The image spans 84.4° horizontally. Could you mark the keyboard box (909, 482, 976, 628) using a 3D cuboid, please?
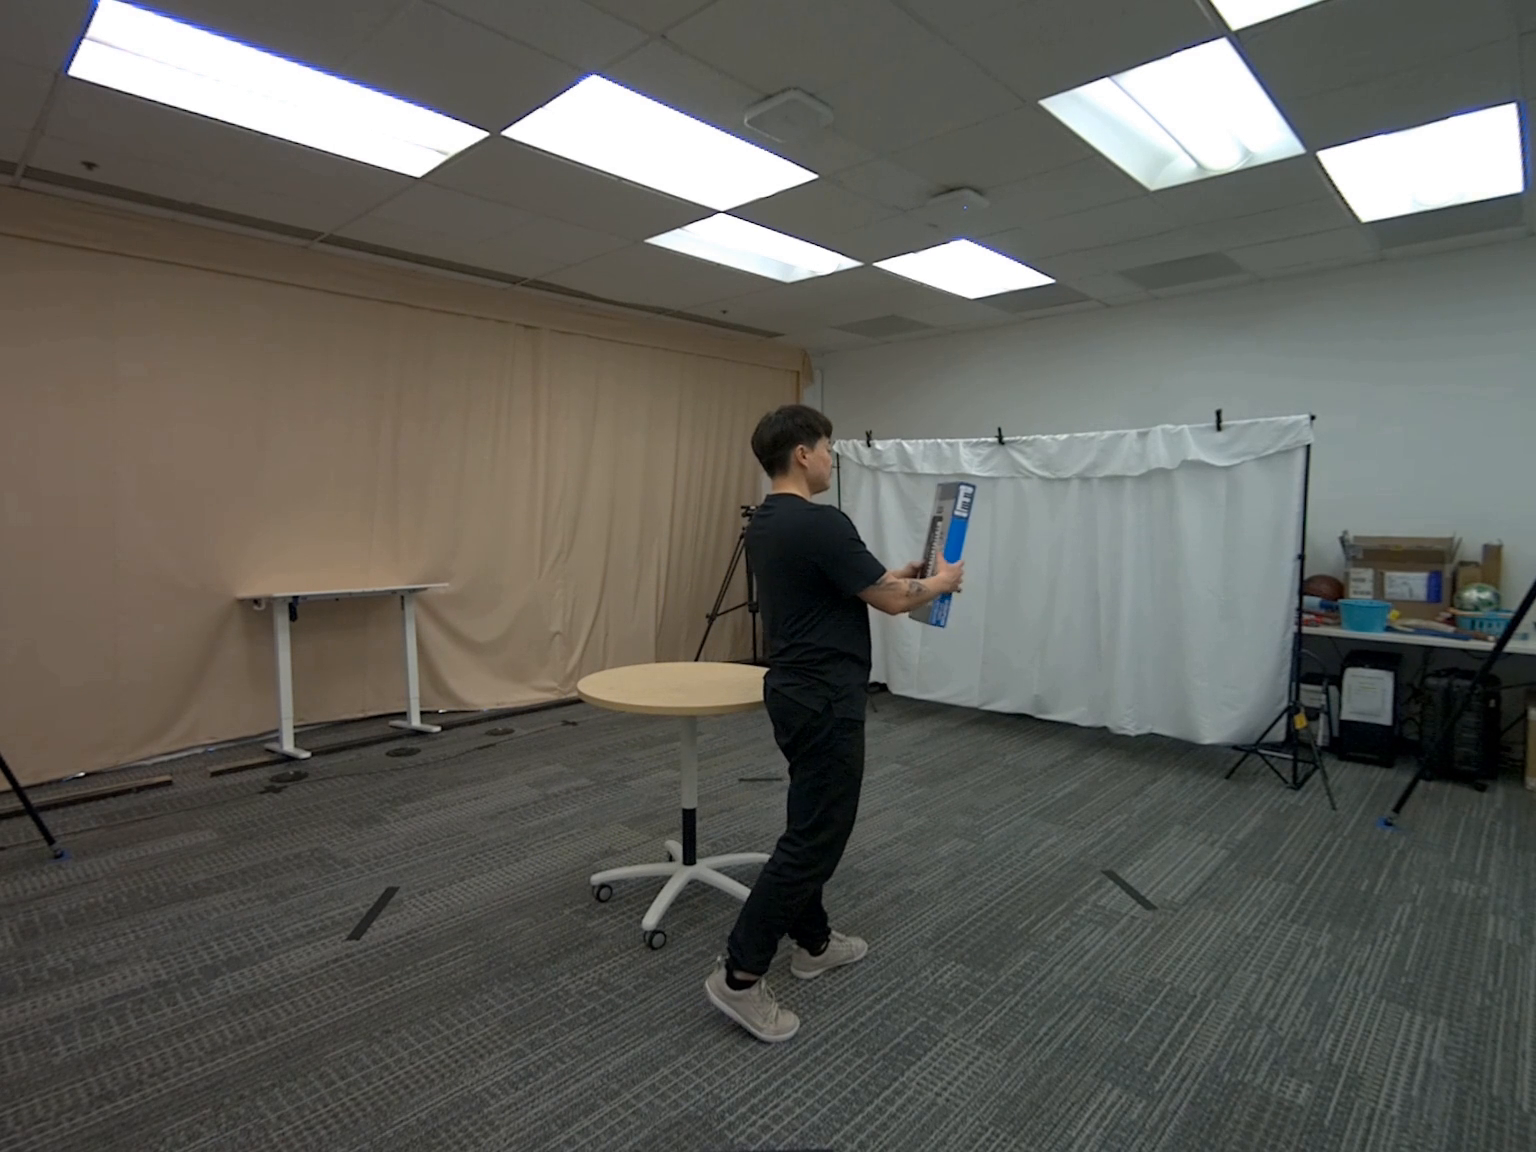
[{"bbox_3d":[0.541,-0.065,2.579,0.058,0.437,0.177,11,-1,-10],"label":"keyboard box"}]
